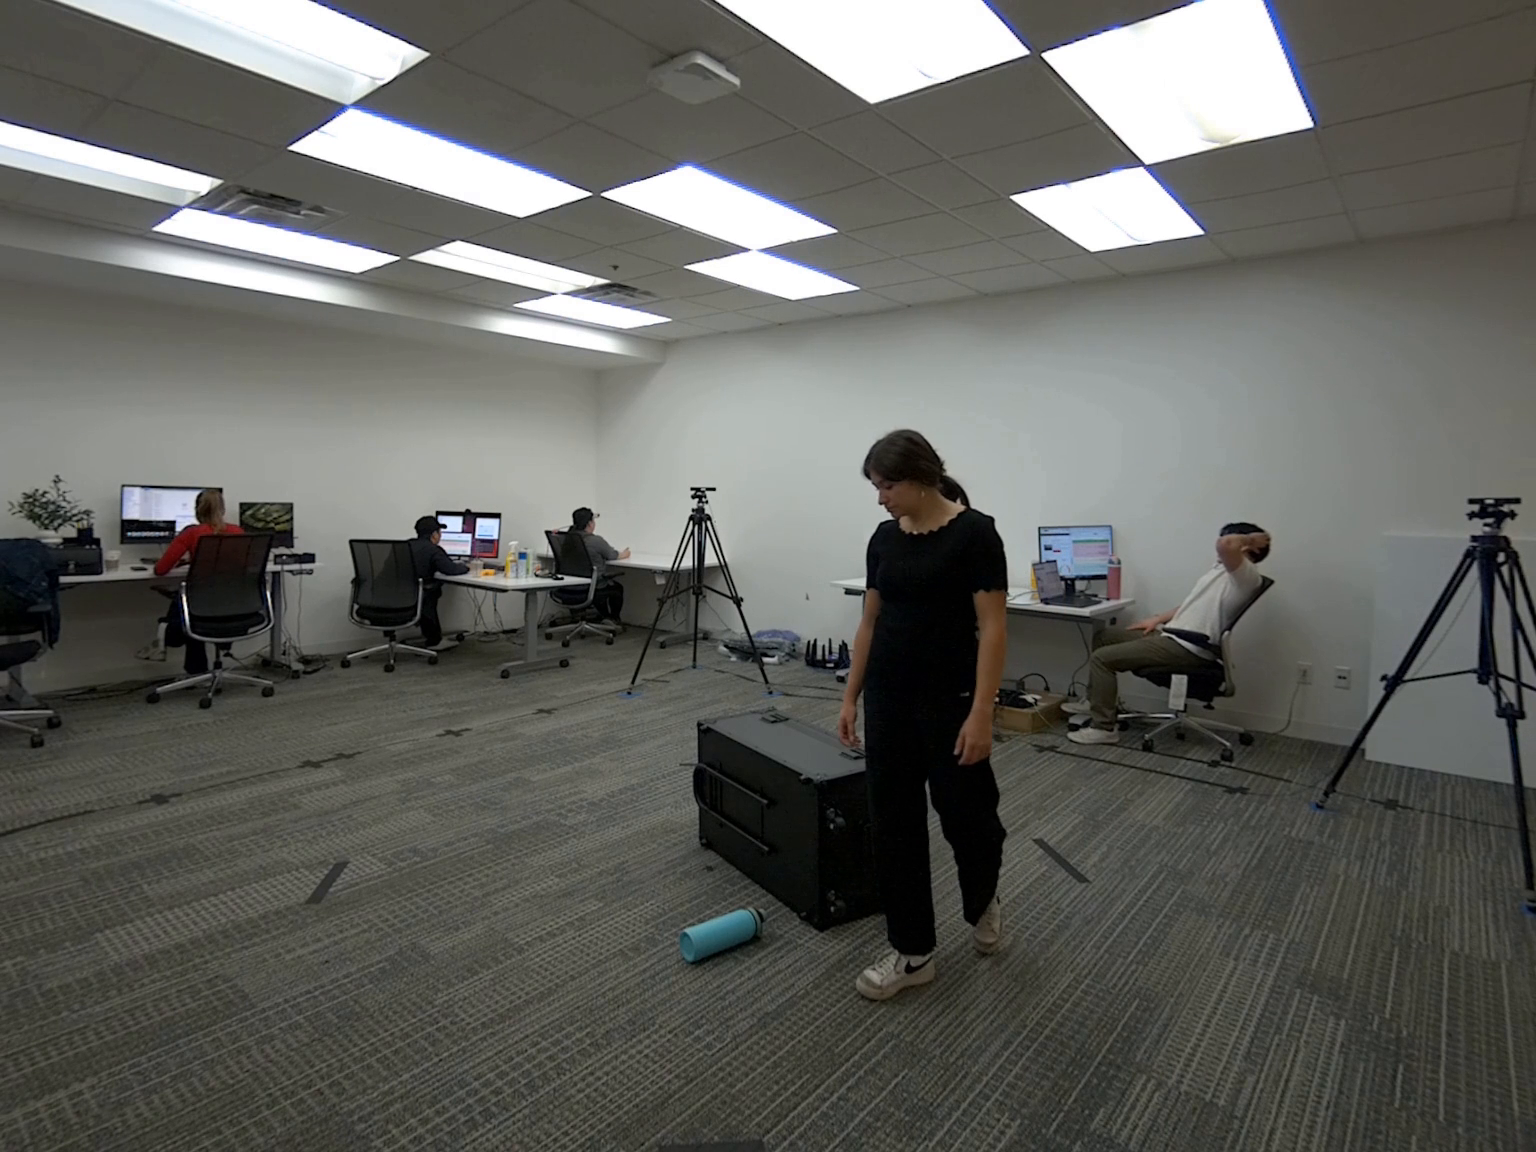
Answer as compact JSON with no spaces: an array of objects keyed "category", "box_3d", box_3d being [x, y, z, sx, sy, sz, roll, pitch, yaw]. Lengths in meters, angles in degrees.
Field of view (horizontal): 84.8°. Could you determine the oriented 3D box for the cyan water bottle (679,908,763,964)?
[{"category":"cyan water bottle","box_3d":[-0.142,1.075,2.572,0.275,0.092,0.095,-3,6,-37]}]
